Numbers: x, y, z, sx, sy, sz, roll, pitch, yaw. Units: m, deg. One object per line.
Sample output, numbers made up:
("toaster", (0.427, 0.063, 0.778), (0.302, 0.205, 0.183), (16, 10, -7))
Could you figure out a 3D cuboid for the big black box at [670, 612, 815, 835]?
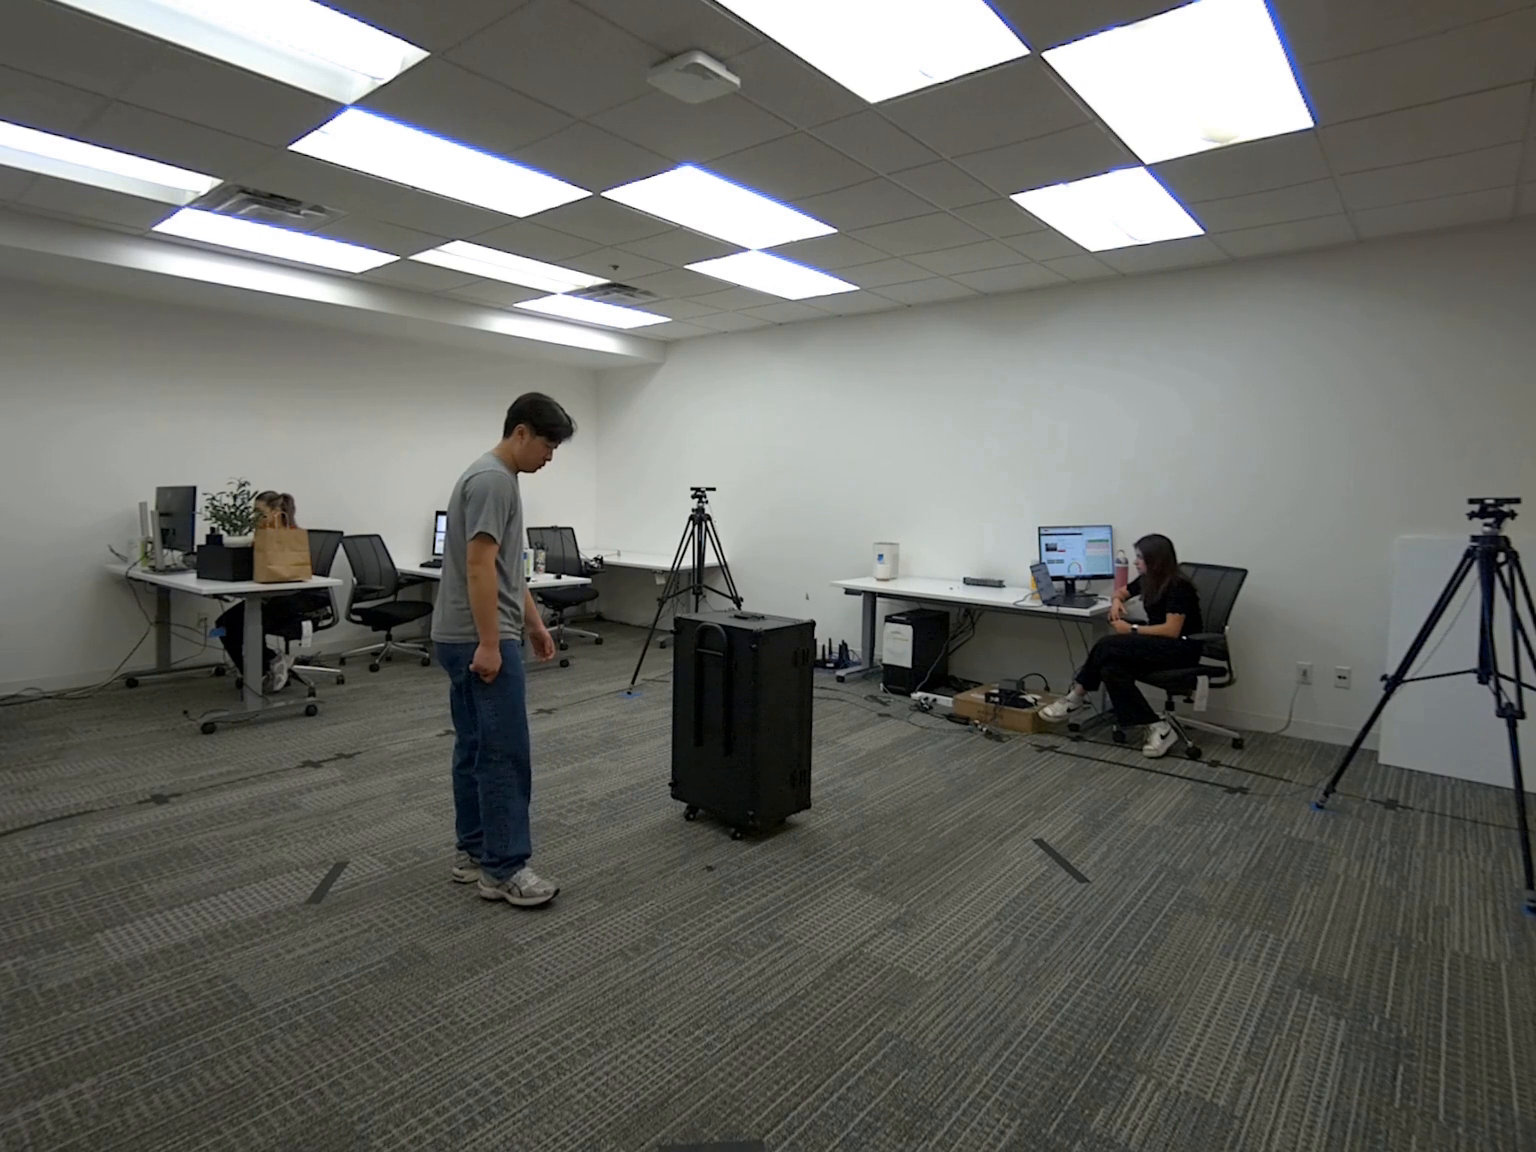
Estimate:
("big black box", (-0.124, 0.598, 3.550), (0.539, 0.859, 0.384), (4, 5, 42))
